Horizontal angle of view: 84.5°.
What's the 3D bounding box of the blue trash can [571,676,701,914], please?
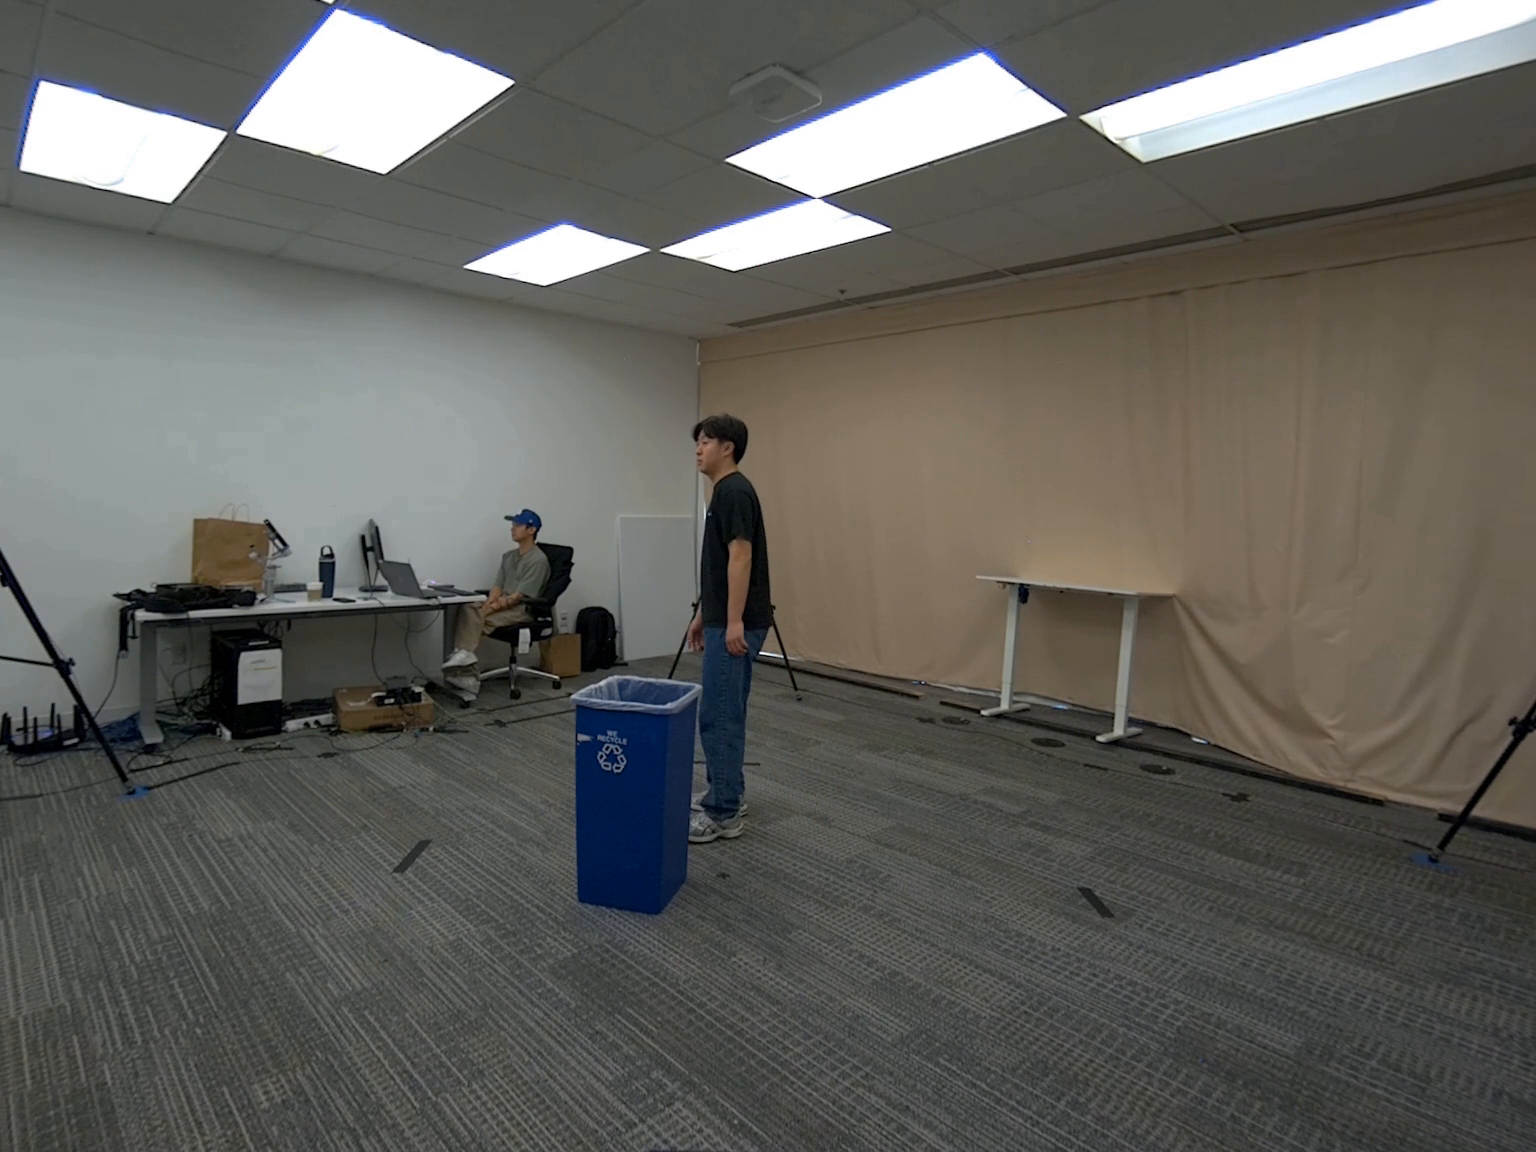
[{"bbox_3d":[-0.474,0.756,2.955,0.379,0.712,0.374,4,4,14],"label":"blue trash can"}]
